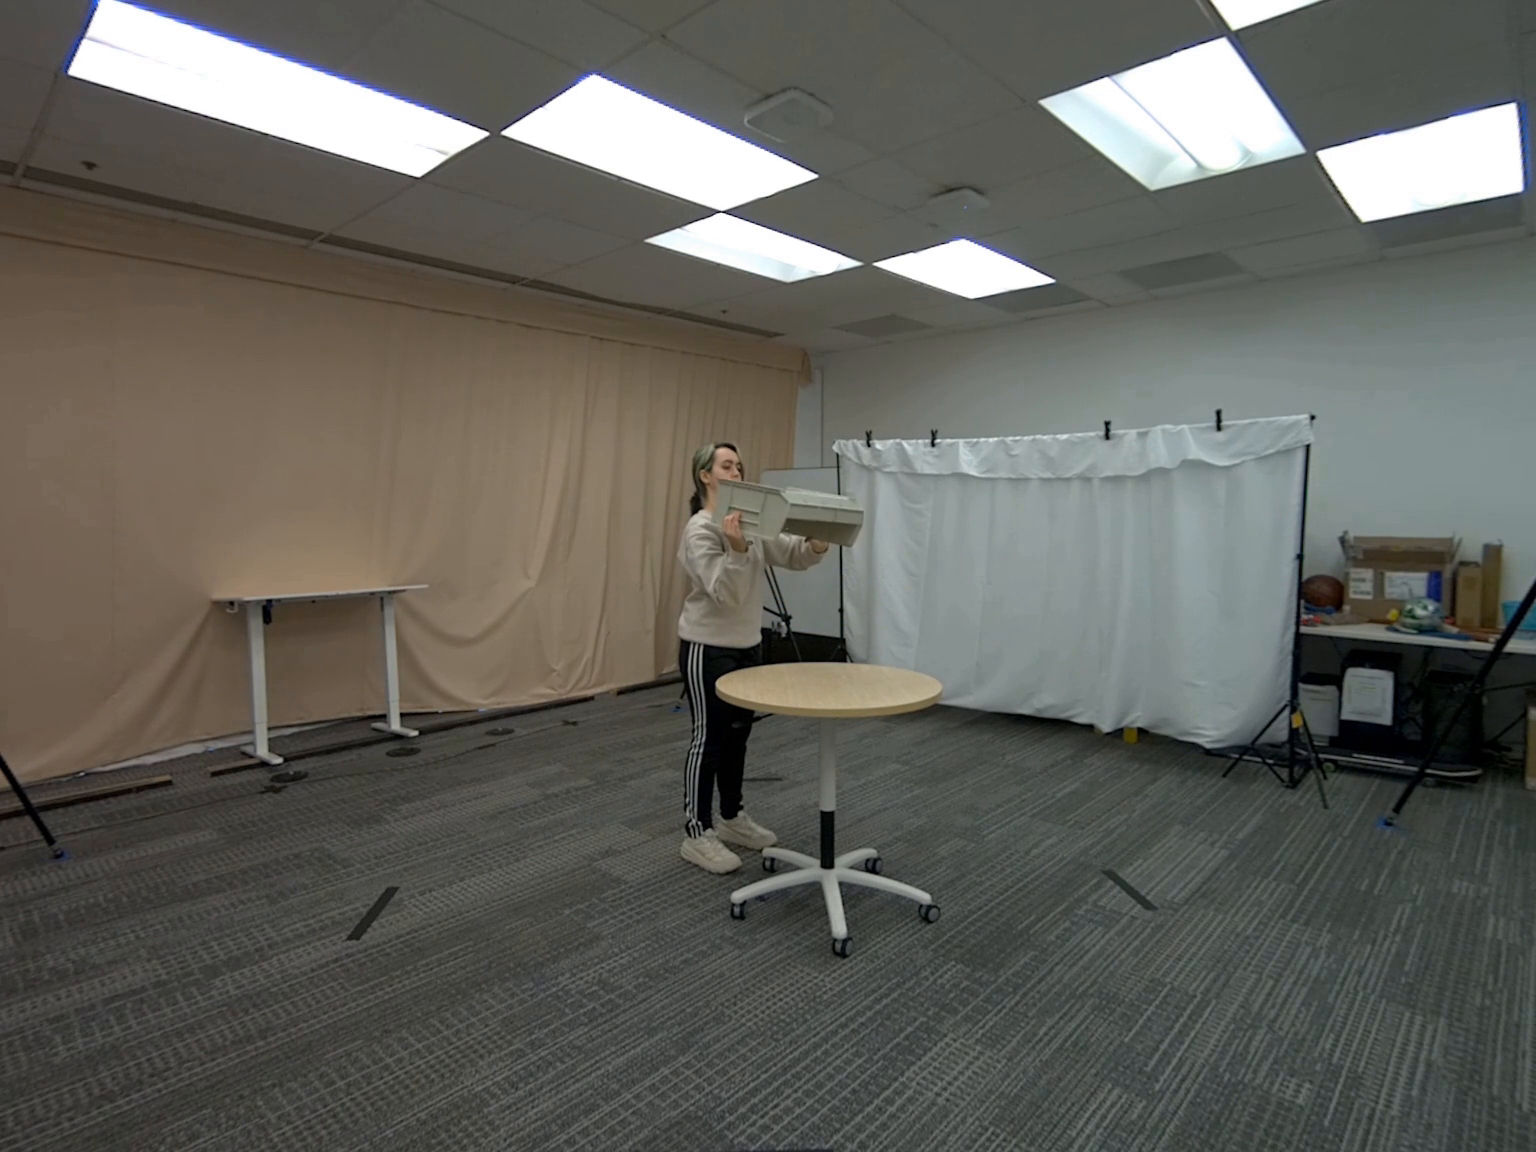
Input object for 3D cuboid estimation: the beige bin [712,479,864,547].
[{"bbox_3d":[0.070,-0.222,3.017,0.409,0.188,0.391,0,11,-45],"label":"beige bin"}]
